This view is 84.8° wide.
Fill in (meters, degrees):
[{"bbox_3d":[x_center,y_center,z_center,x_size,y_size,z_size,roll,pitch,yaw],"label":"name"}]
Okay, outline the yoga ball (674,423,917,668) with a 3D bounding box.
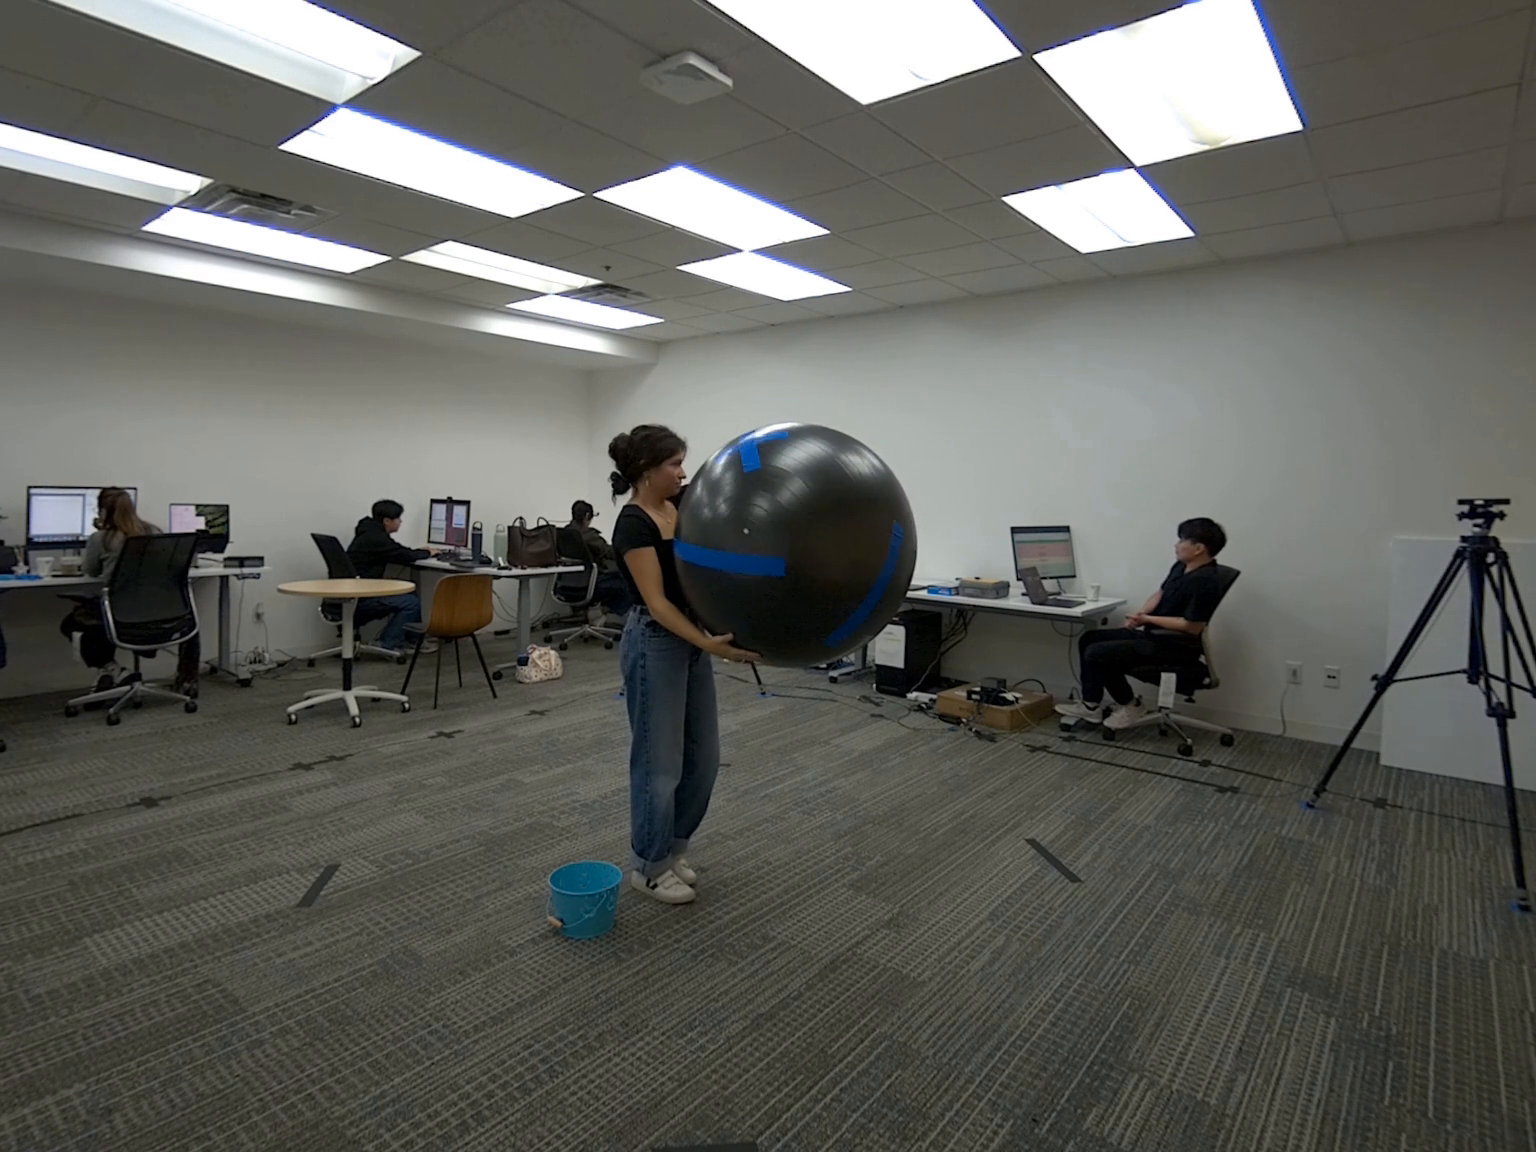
[{"bbox_3d":[0.080,-0.097,2.670,0.757,0.755,0.762,1,4,-2],"label":"yoga ball"}]
